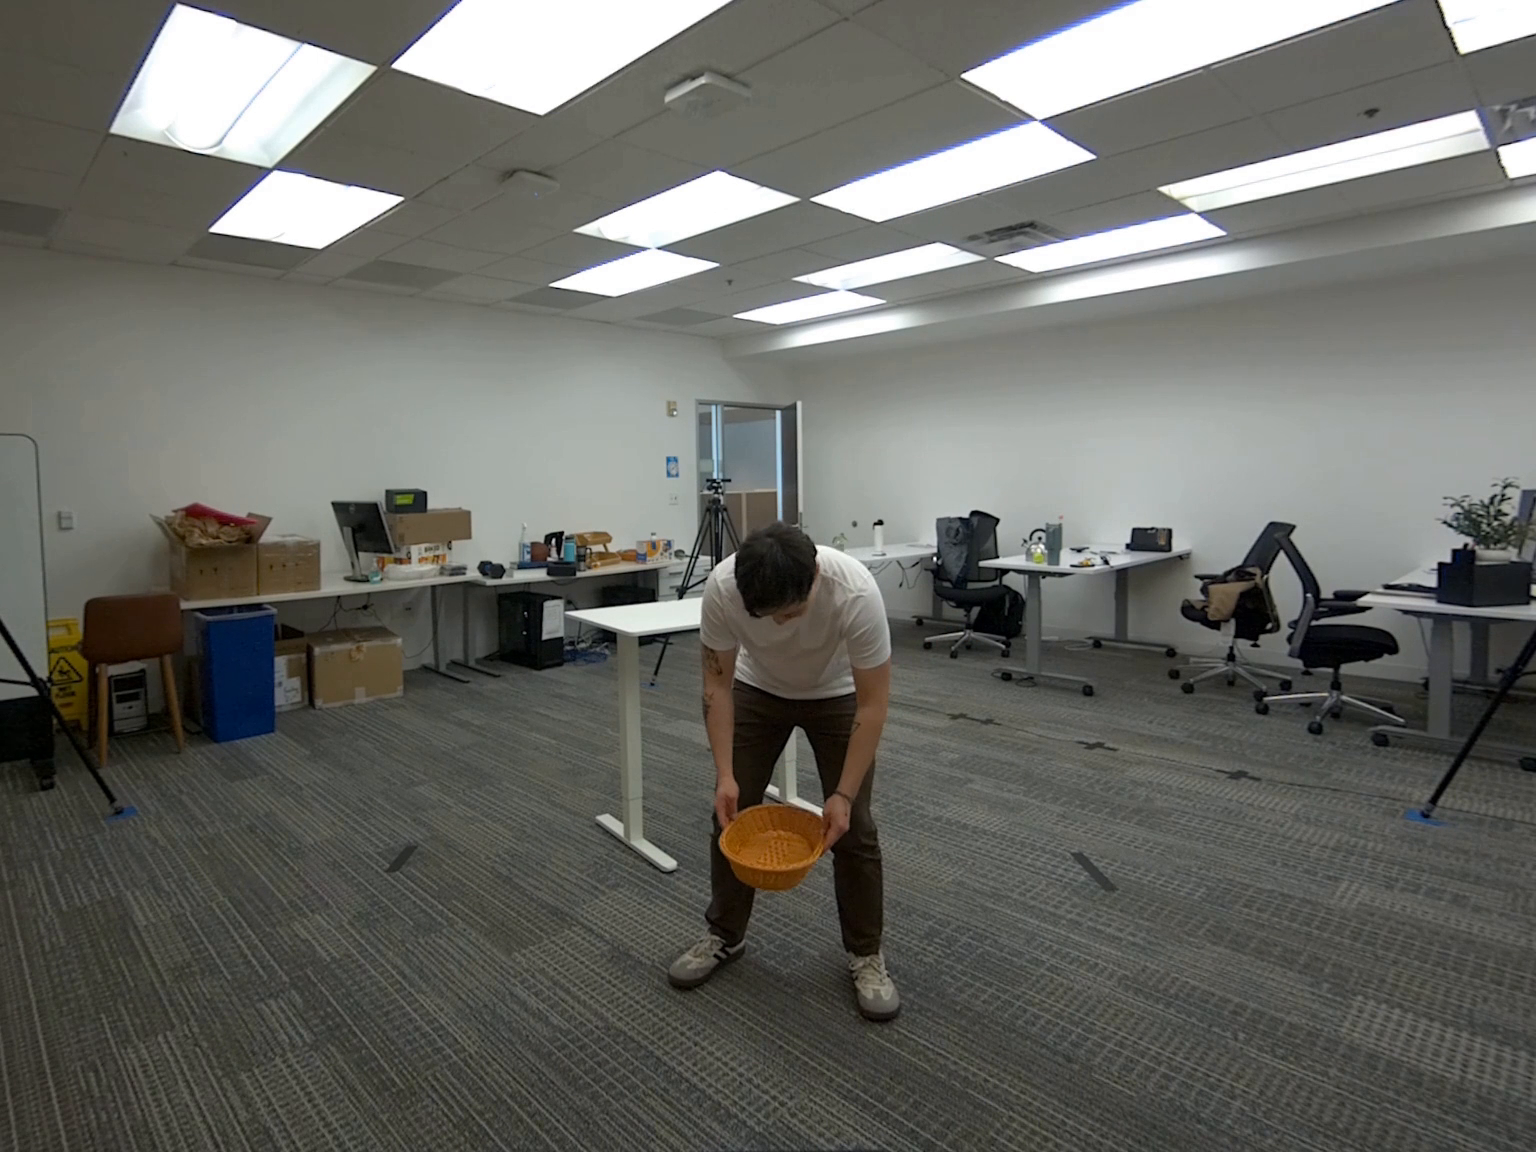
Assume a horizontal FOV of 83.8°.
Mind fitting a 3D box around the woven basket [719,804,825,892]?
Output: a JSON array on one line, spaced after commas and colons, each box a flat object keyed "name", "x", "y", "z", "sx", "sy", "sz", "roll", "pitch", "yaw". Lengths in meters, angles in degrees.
[{"name": "woven basket", "x": 0.016, "y": 0.668, "z": 2.091, "sx": 0.255, "sy": 0.073, "sz": 0.349, "roll": 2, "pitch": 9, "yaw": 11}]
